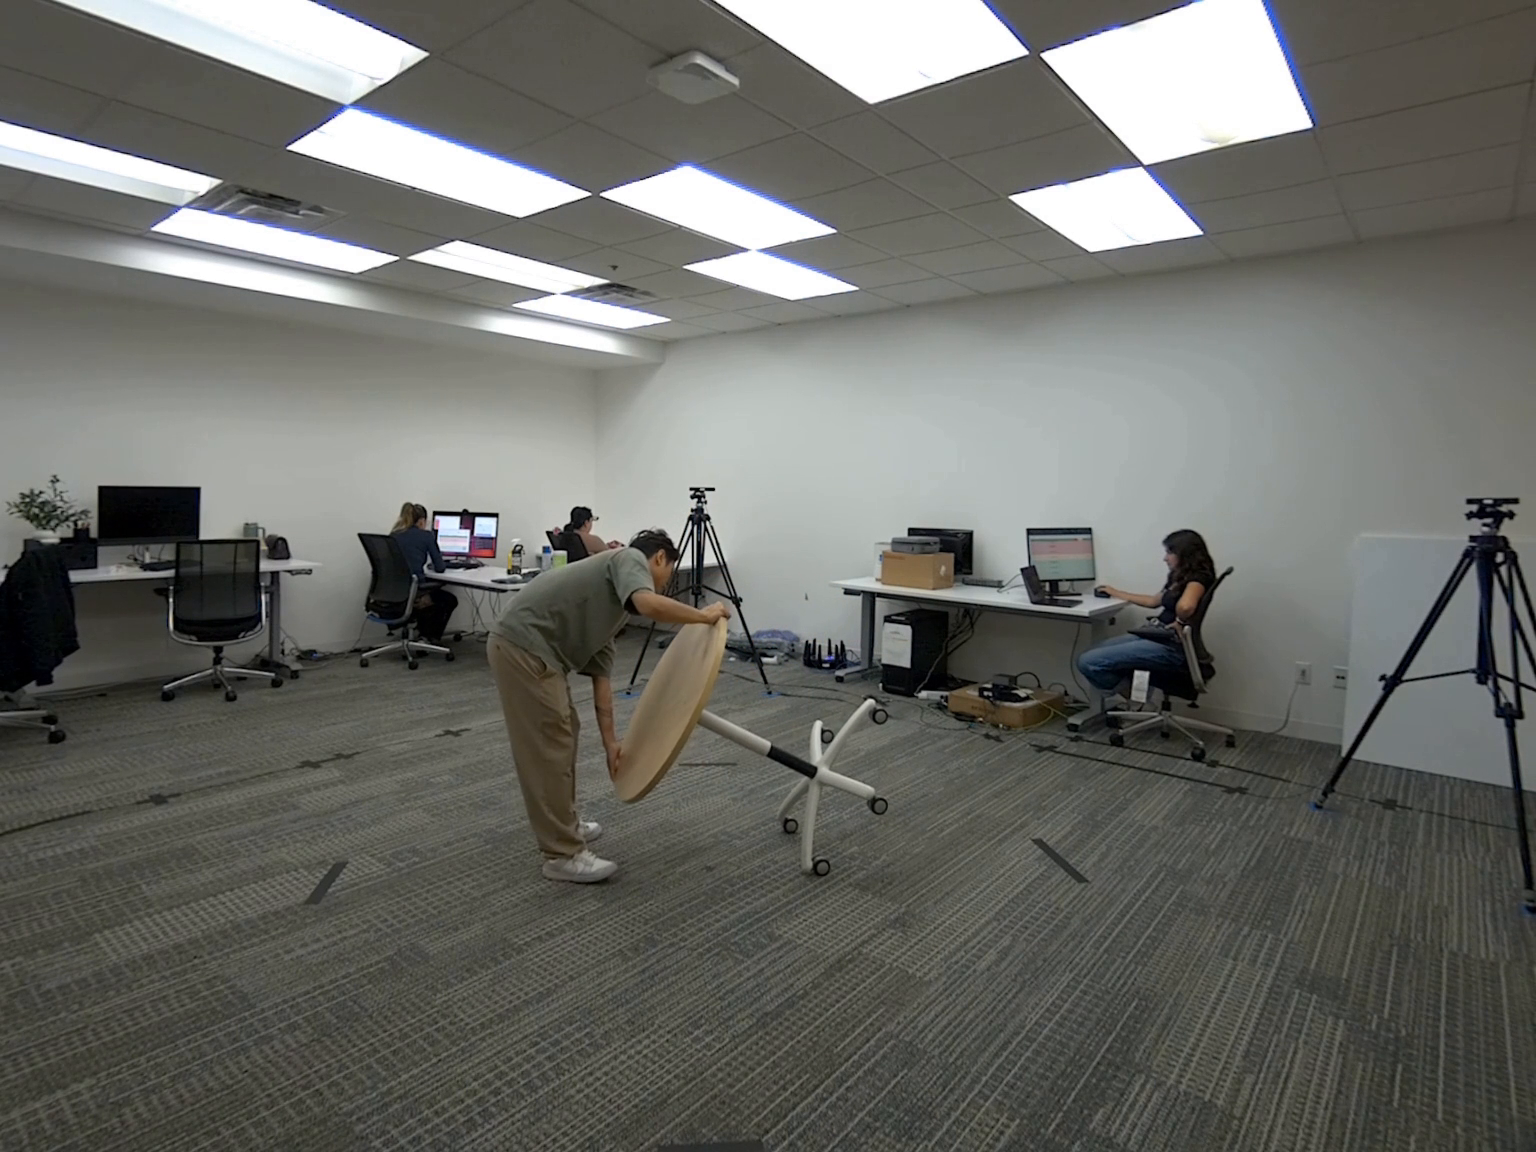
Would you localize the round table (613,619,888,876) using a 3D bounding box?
[{"bbox_3d":[-0.045,0.618,3.190,0.771,0.786,0.800,29,-4,-15],"label":"round table"}]
